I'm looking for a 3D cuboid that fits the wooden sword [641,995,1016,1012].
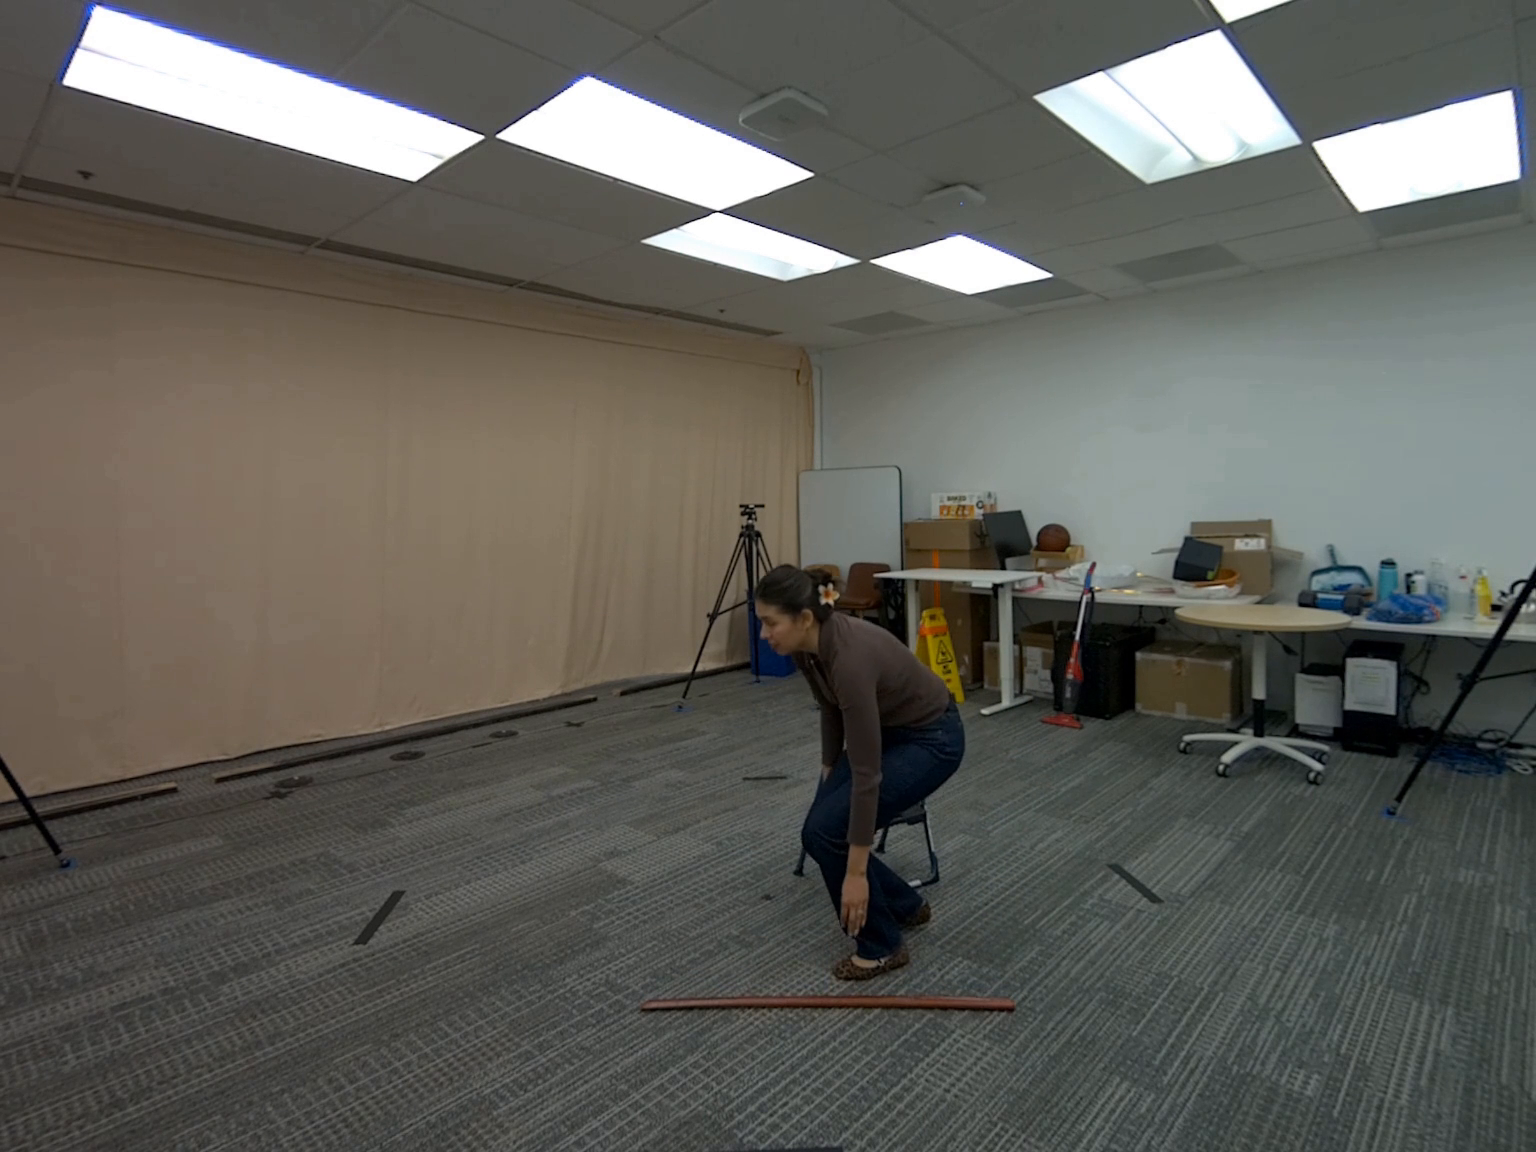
[{"bbox_3d":[0.166,1.159,2.354,1.028,0.024,0.050,0,-21,3],"label":"wooden sword"}]
